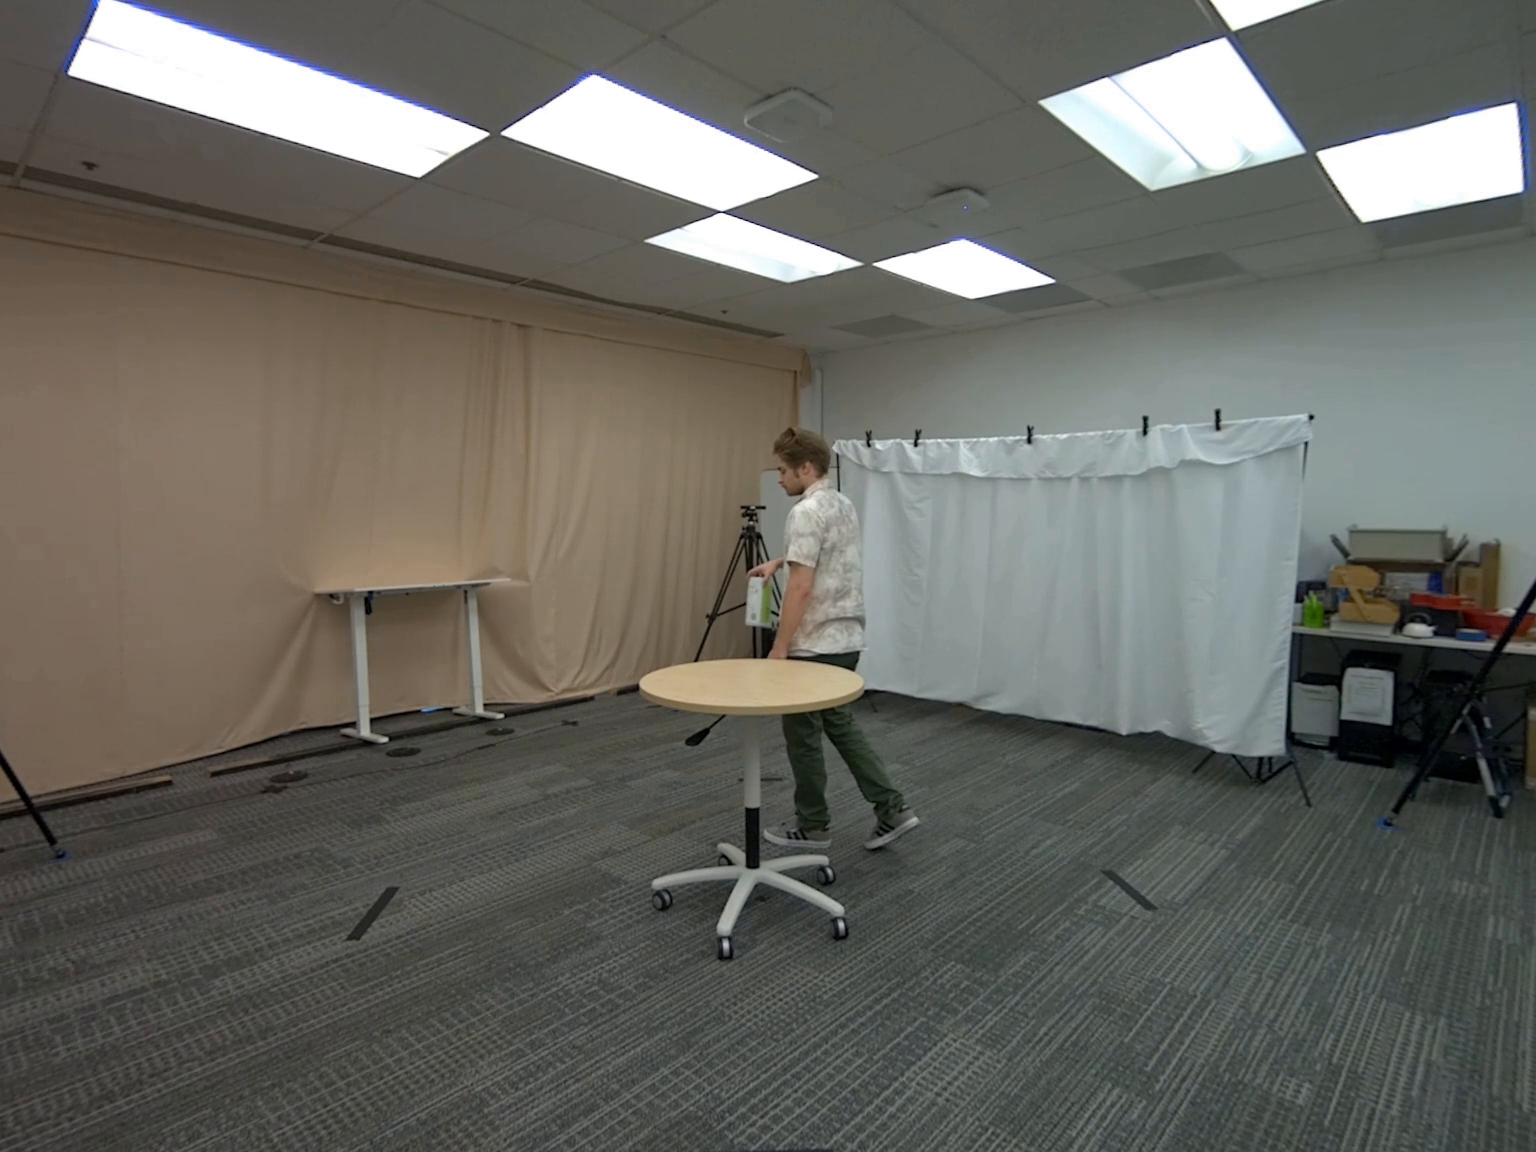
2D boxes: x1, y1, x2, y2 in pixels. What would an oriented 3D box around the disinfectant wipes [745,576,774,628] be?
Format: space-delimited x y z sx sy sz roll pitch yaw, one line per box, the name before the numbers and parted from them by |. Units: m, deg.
disinfectant wipes | -0.040 0.115 3.722 0.118 0.218 0.118 3 -2 -2
